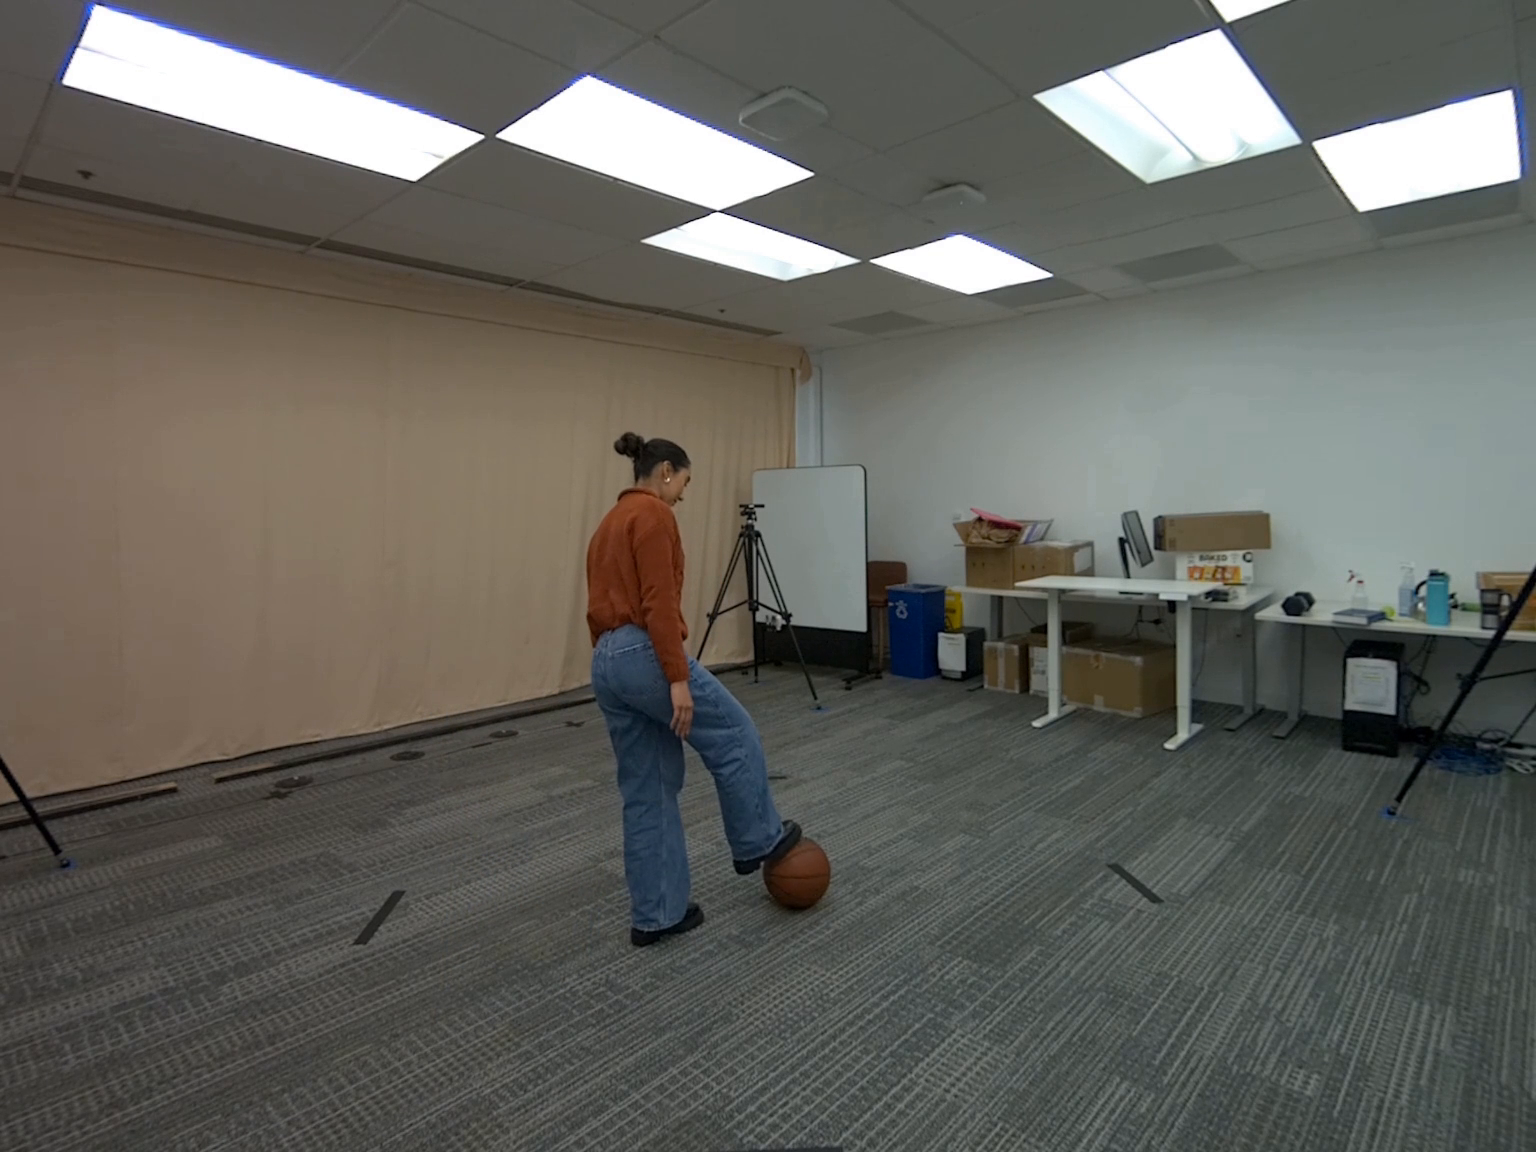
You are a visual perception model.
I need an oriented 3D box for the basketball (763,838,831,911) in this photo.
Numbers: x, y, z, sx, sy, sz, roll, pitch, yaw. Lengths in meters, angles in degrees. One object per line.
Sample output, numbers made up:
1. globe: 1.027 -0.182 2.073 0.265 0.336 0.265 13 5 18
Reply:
1. basketball: 0.094 1.028 2.917 0.236 0.235 0.237 -1 4 -2
